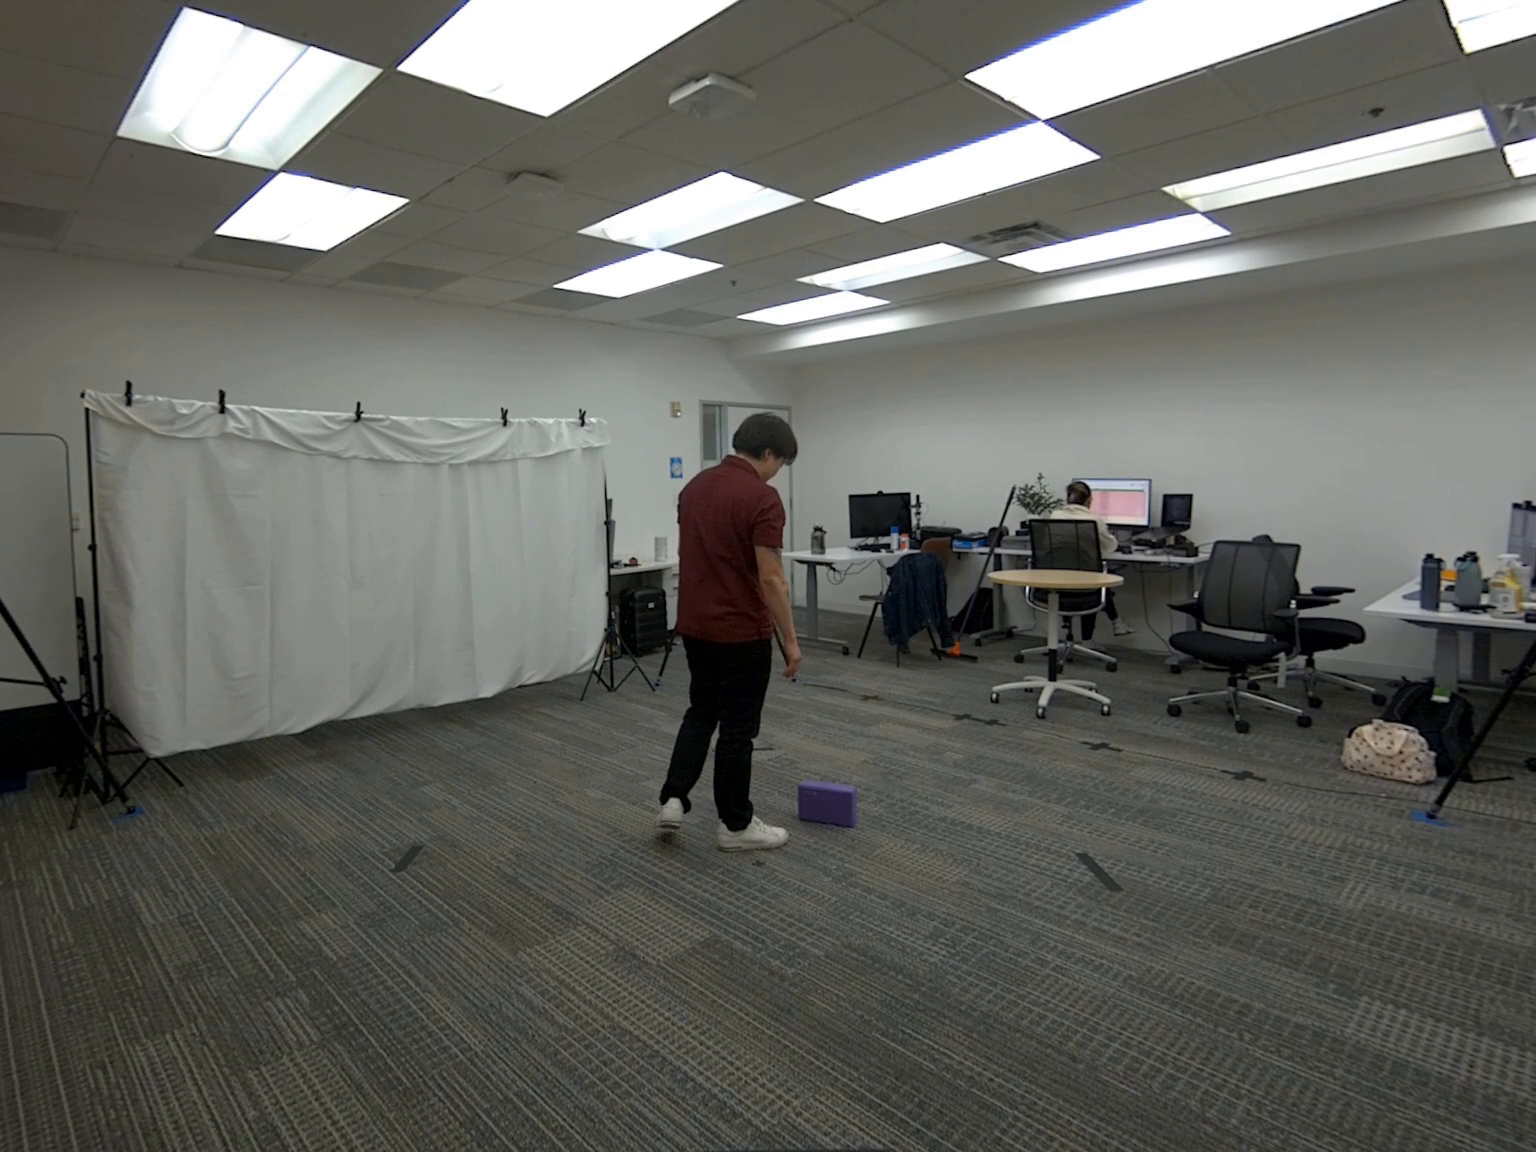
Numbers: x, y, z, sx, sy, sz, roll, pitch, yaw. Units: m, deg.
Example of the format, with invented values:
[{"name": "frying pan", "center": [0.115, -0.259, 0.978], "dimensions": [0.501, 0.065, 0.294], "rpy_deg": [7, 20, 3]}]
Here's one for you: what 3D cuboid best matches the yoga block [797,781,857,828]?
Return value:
[{"name": "yoga block", "center": [0.243, 0.921, 3.481], "dimensions": [0.234, 0.148, 0.075], "rpy_deg": [2, 3, 23]}]
